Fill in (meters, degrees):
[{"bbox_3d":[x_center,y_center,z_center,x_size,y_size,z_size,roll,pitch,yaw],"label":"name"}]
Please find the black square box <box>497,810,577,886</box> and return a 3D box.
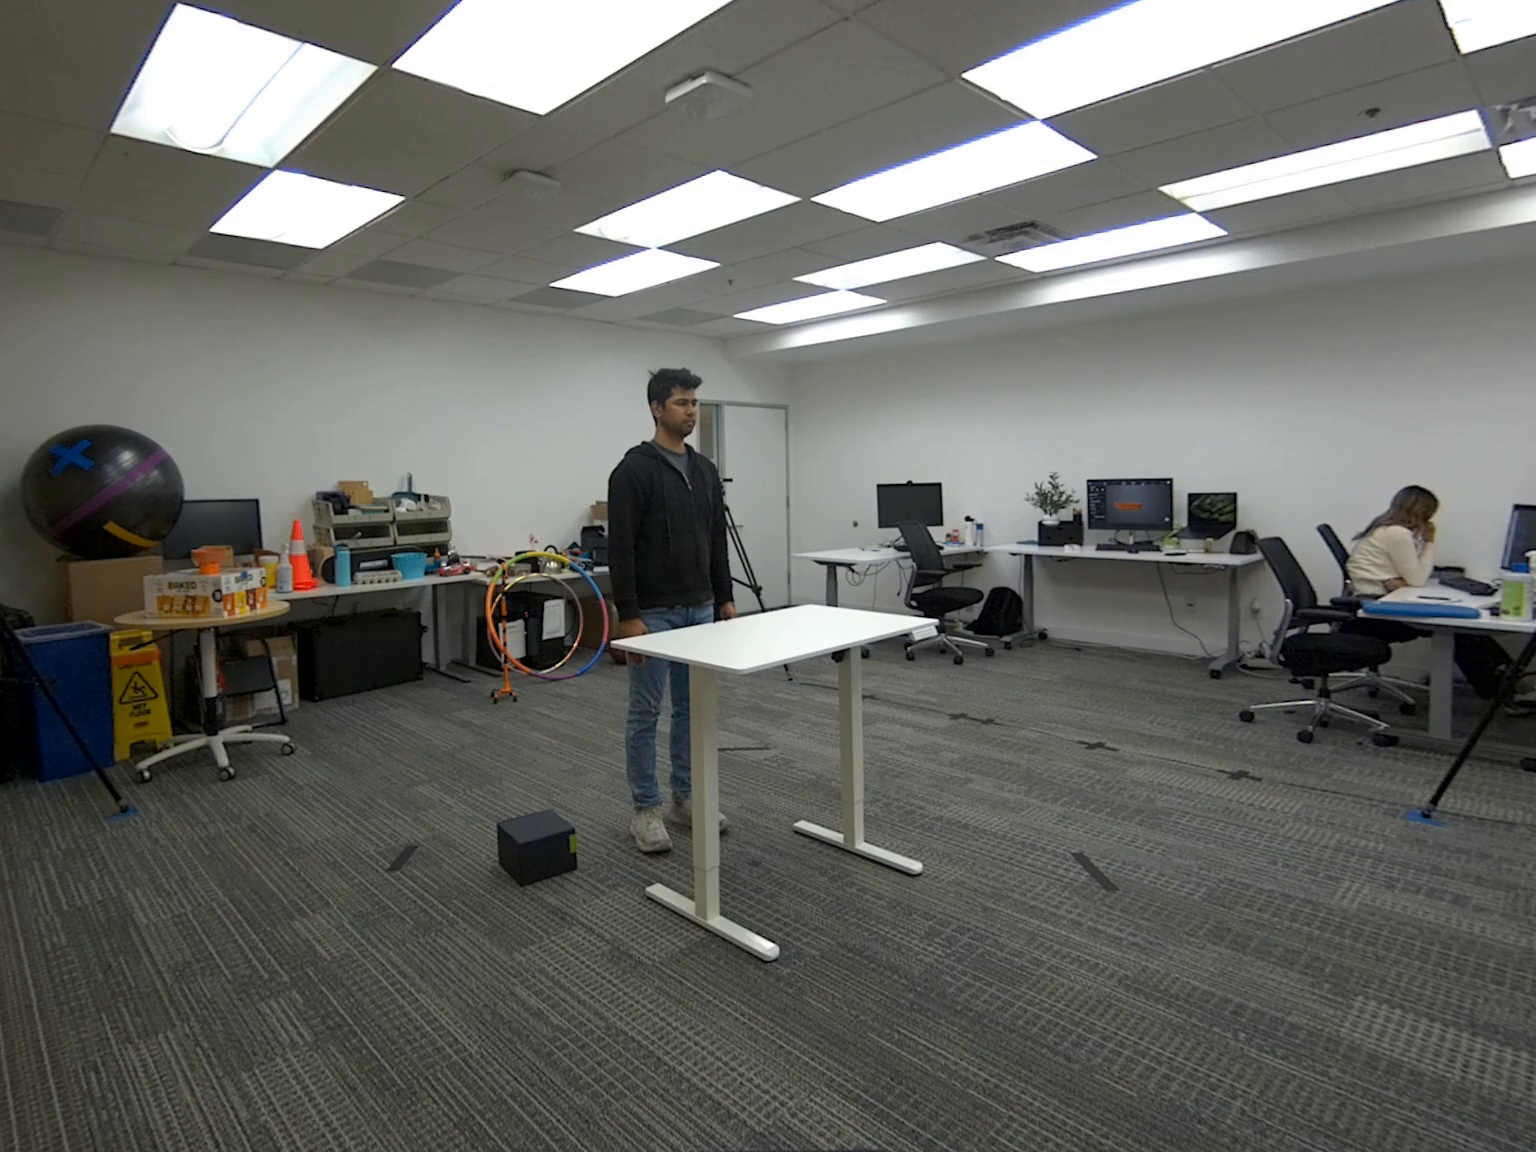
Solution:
[{"bbox_3d":[-0.835,0.976,3.102,0.211,0.155,0.235,-6,7,-37],"label":"black square box"}]
